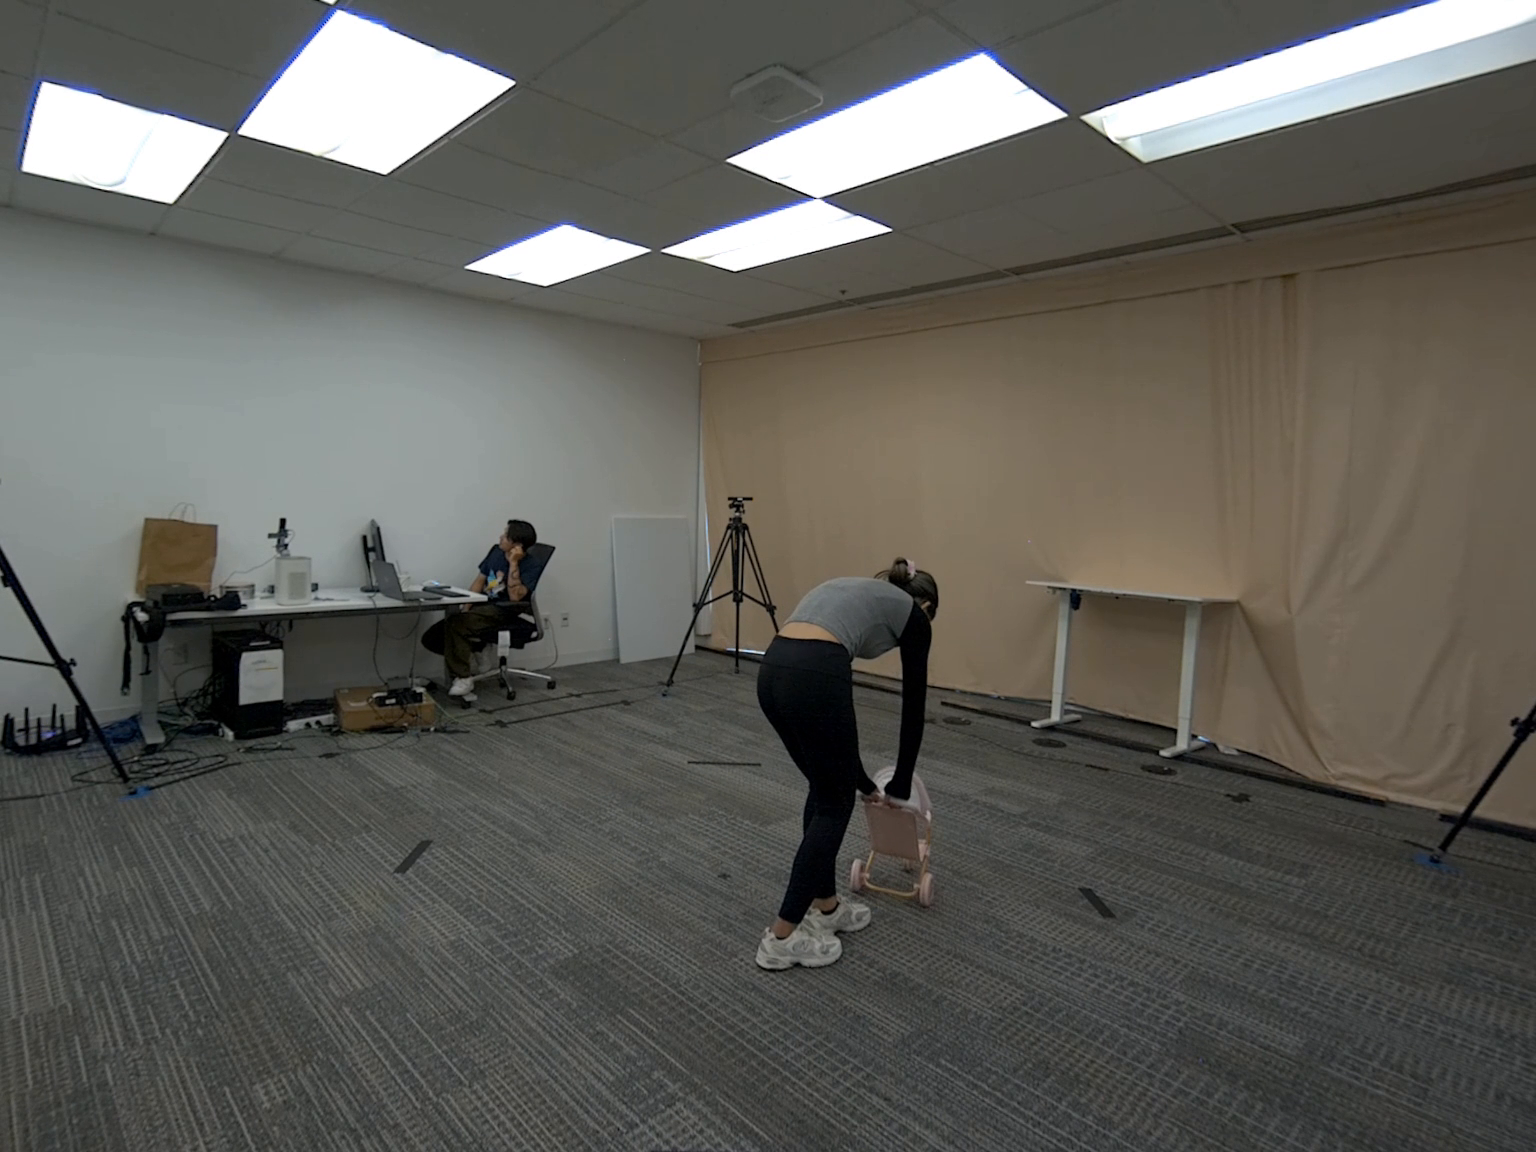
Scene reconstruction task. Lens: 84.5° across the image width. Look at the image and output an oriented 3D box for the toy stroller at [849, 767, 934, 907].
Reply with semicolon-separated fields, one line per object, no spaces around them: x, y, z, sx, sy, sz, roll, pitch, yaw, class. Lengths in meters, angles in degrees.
0.460;0.906;3.006;0.287;0.527;0.339;5;22;26;toy stroller
